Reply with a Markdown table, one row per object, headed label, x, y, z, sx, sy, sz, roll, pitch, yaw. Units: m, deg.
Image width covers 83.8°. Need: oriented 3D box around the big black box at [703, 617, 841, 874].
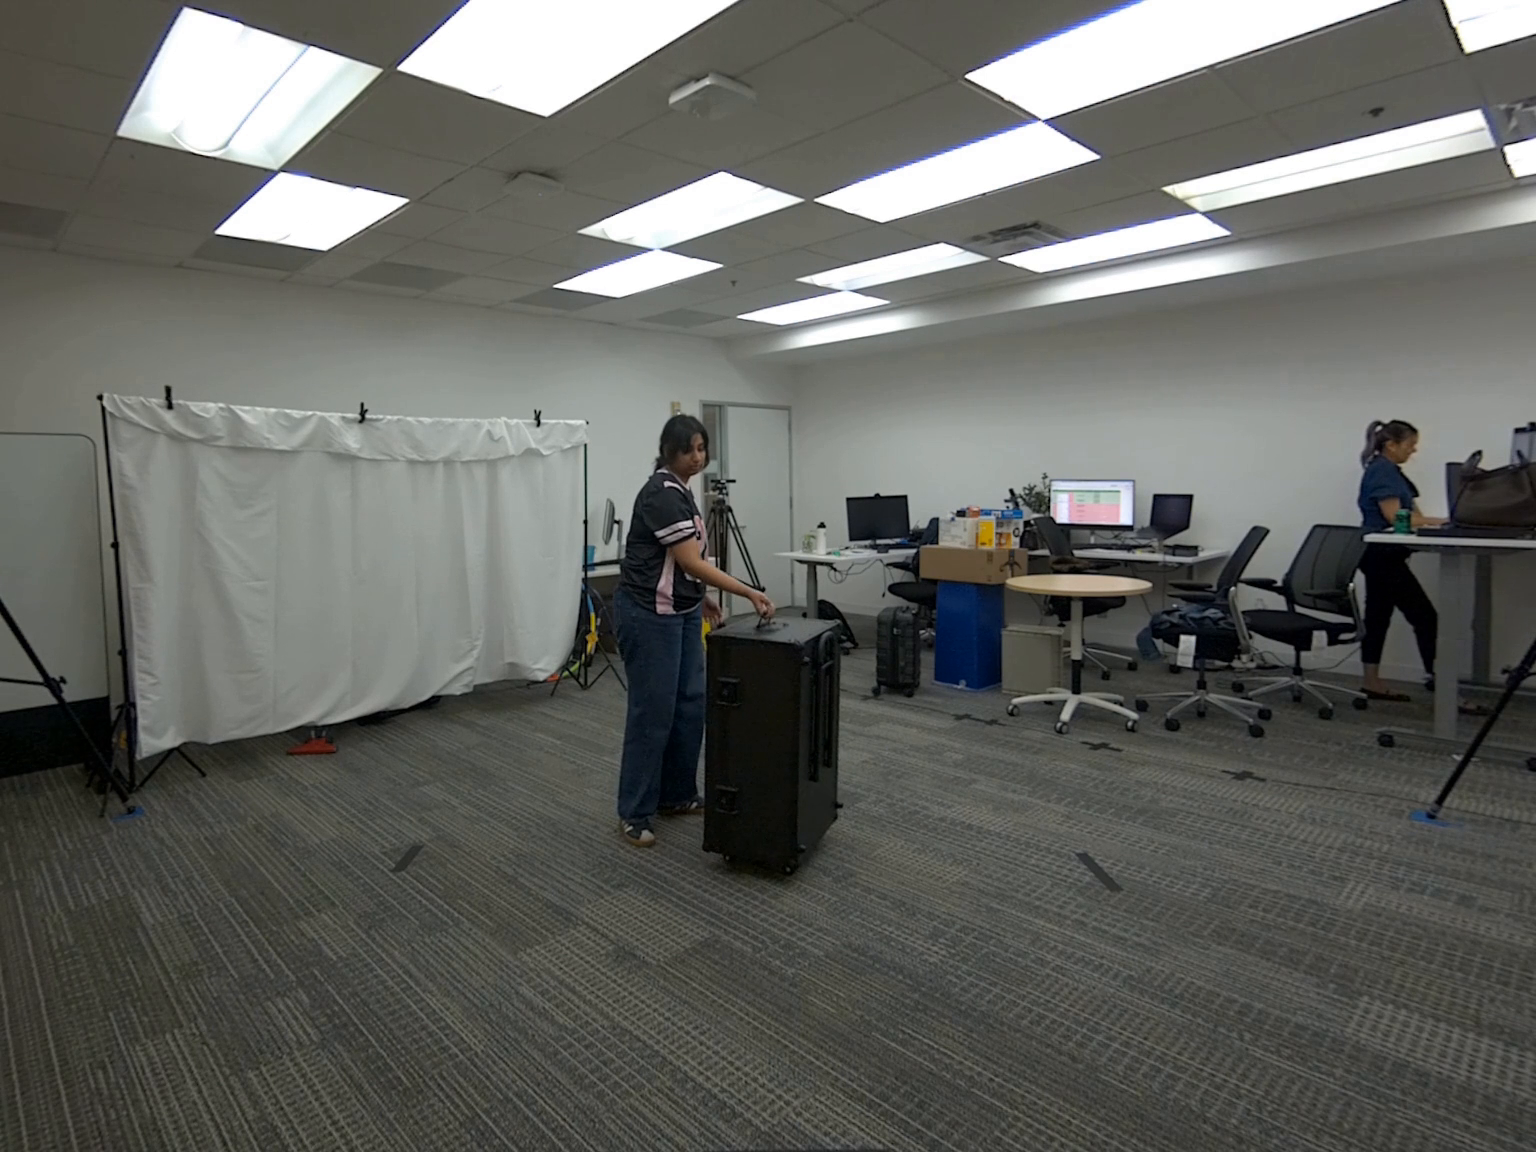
| label | x | y | z | sx | sy | sz | roll | pitch | yaw |
| --- | --- | --- | --- | --- | --- | --- | --- | --- | --- |
| big black box | 0.036 | 0.615 | 3.161 | 0.405 | 0.858 | 0.512 | 2 | 4 | 23 |
